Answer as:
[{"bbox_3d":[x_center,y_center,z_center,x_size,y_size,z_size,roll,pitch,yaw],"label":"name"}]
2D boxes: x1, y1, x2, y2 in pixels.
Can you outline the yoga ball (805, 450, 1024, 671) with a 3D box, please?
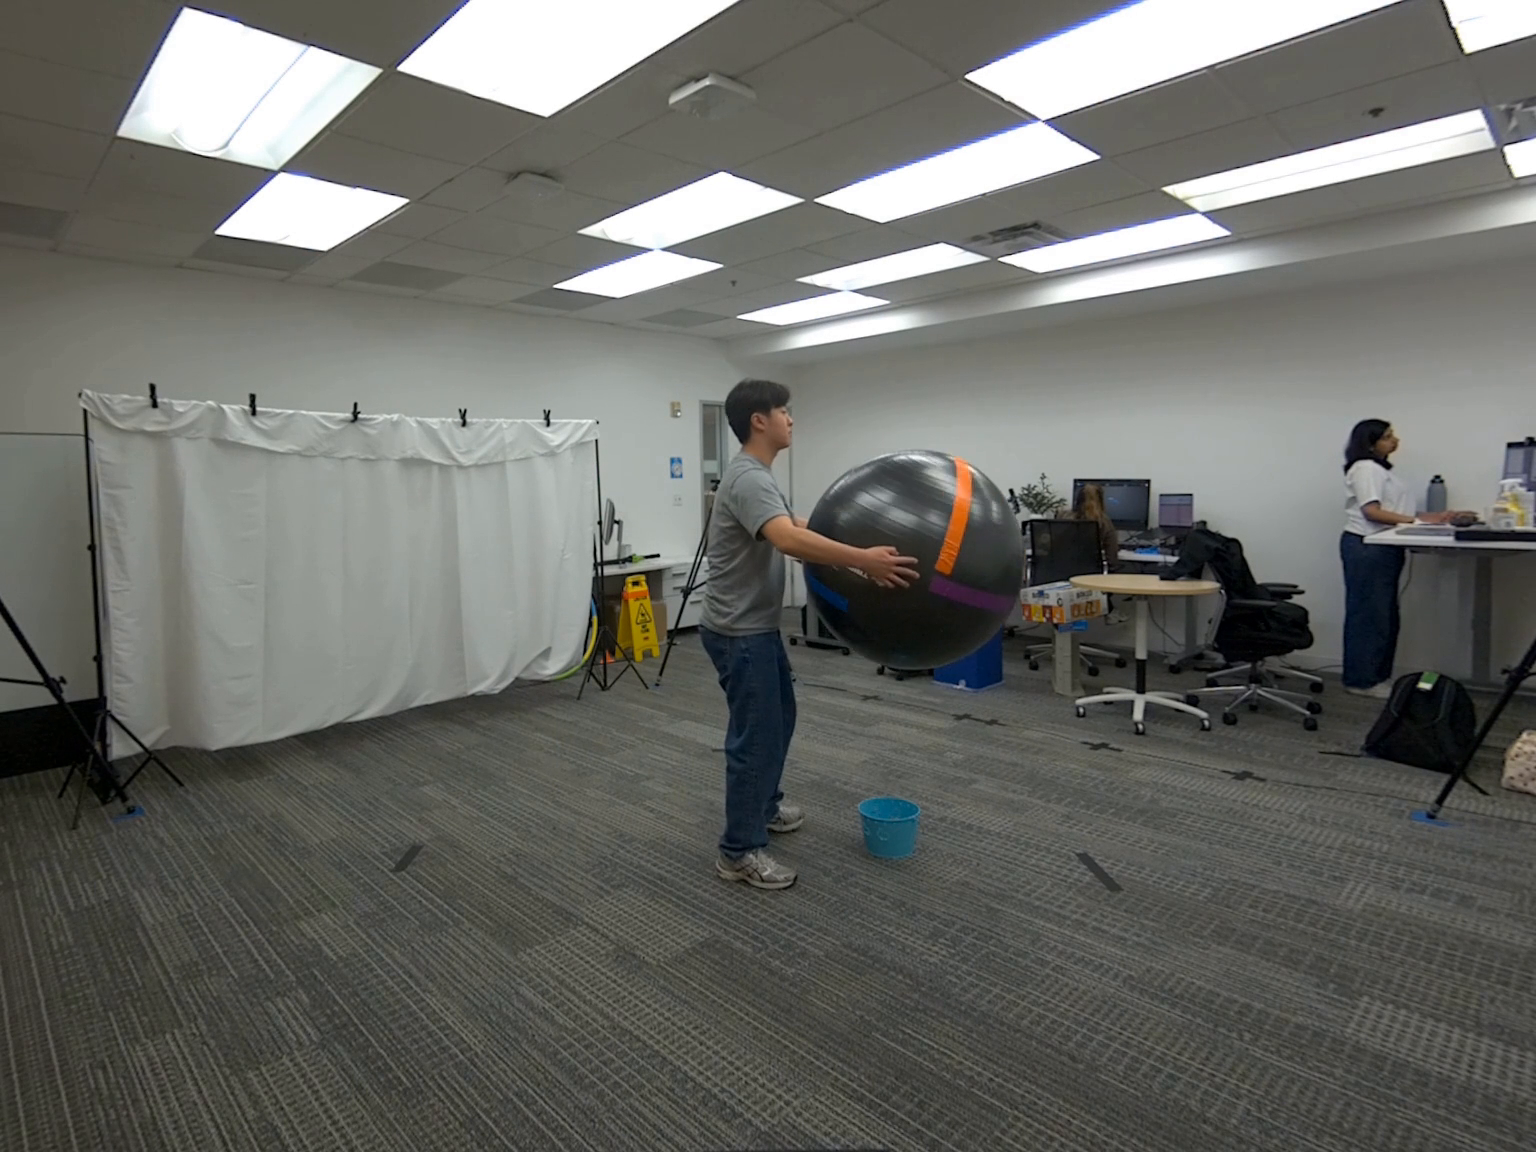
[{"bbox_3d":[0.513,-0.041,2.993,0.757,0.755,0.762,-1,5,-2],"label":"yoga ball"}]
